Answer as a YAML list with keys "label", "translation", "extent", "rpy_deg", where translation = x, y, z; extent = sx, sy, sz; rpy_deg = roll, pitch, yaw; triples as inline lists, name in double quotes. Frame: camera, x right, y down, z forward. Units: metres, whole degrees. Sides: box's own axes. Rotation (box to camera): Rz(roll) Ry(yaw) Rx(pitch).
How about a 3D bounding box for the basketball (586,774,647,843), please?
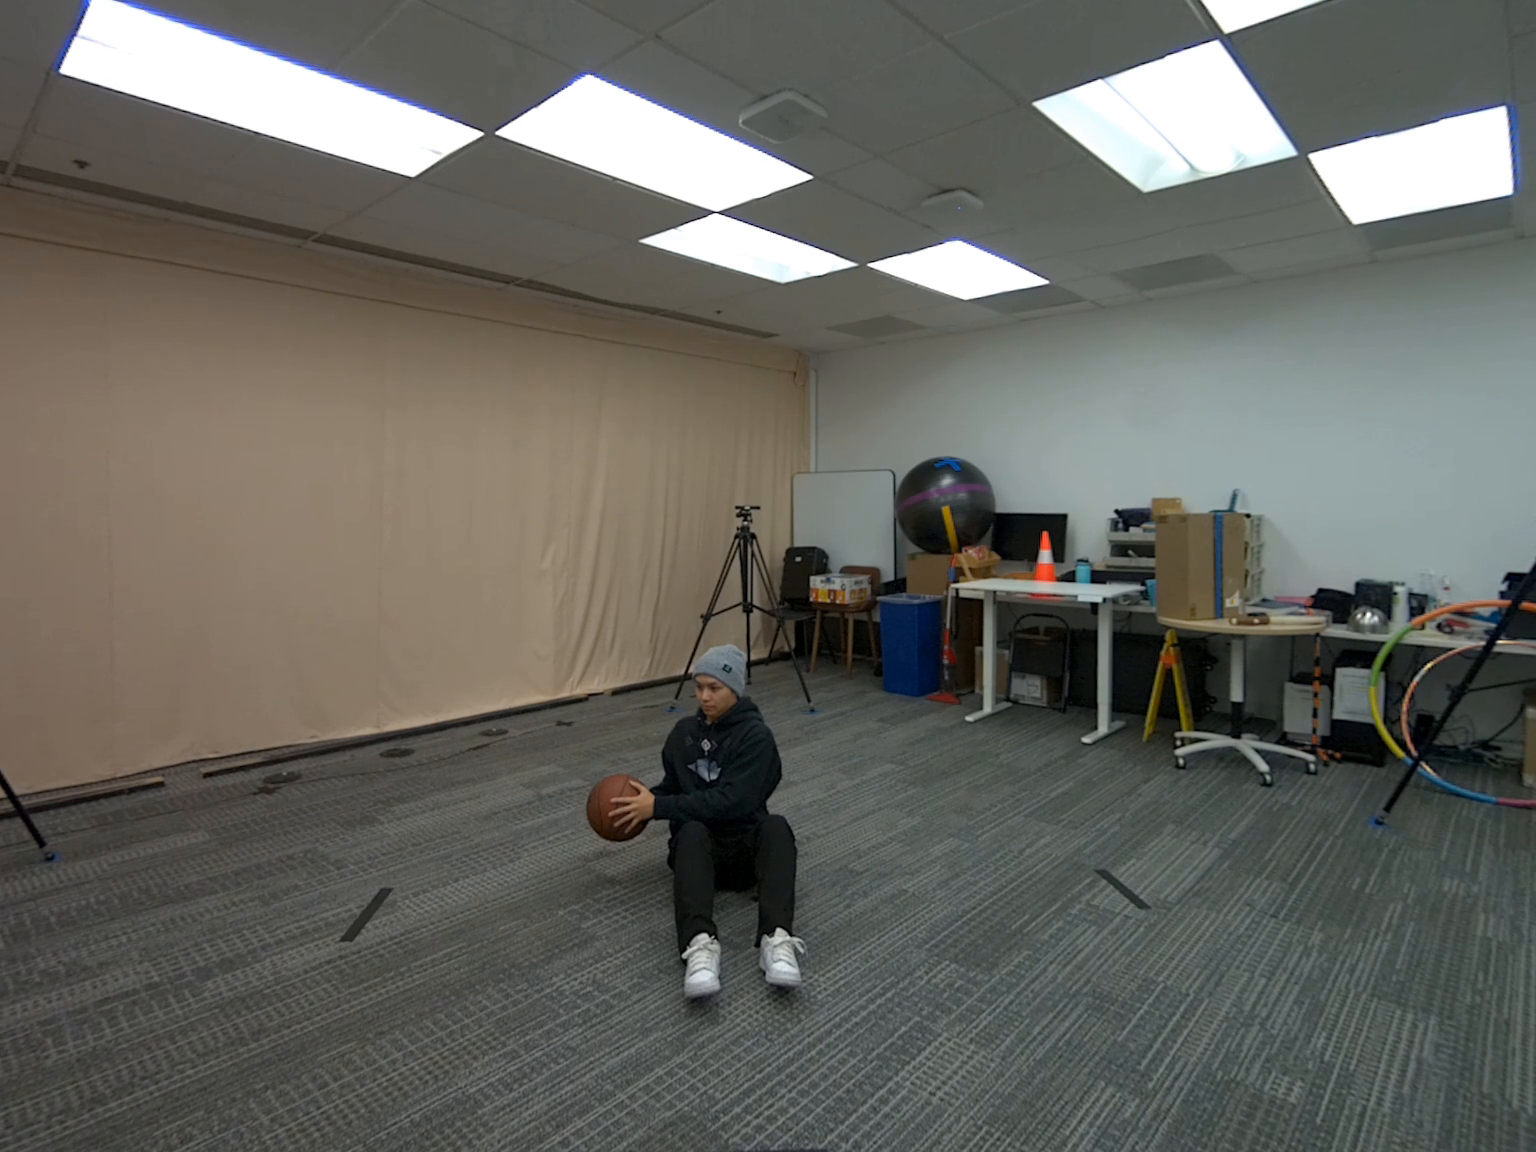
- label: "basketball"
  translation: [-0.539, 0.846, 3.066]
  extent: [0.236, 0.235, 0.237]
  rpy_deg: [0, 4, -2]
